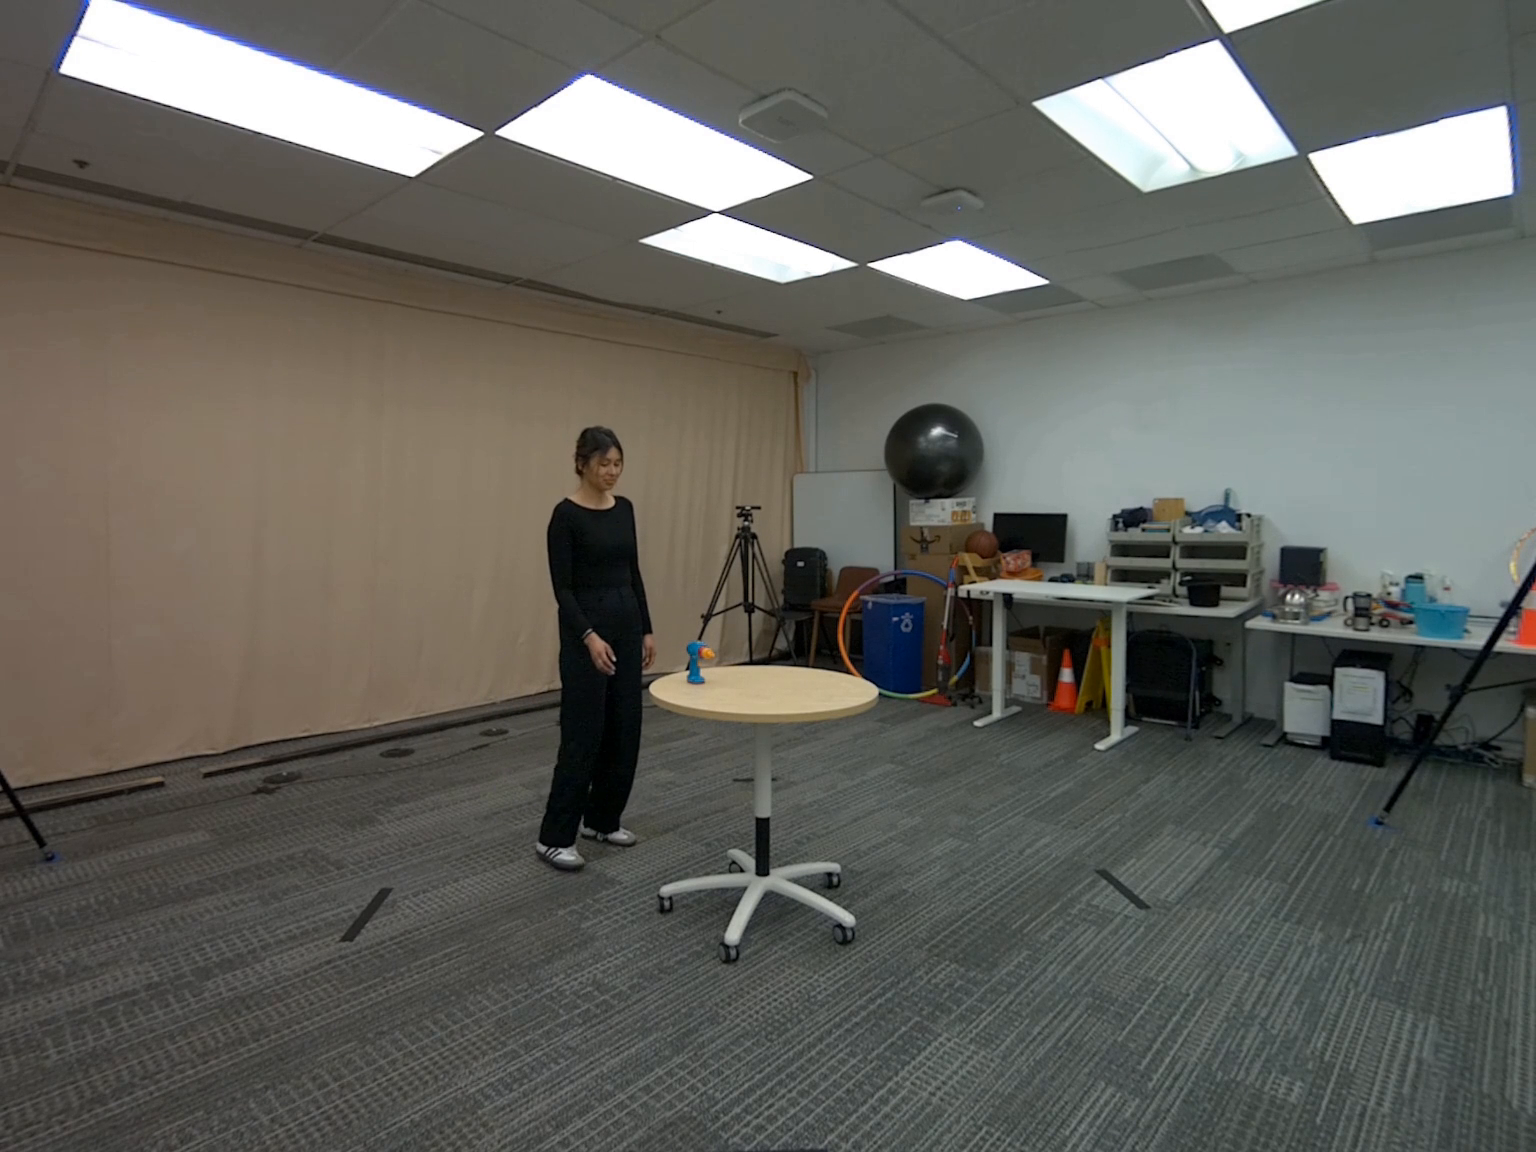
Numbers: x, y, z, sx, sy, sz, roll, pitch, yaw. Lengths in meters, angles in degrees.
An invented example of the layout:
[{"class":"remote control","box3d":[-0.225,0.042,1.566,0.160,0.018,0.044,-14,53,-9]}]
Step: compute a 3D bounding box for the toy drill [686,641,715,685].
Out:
[{"class":"toy drill","box3d":[-0.223,0.296,2.872,0.059,0.146,0.174,-2,3,-28]}]
